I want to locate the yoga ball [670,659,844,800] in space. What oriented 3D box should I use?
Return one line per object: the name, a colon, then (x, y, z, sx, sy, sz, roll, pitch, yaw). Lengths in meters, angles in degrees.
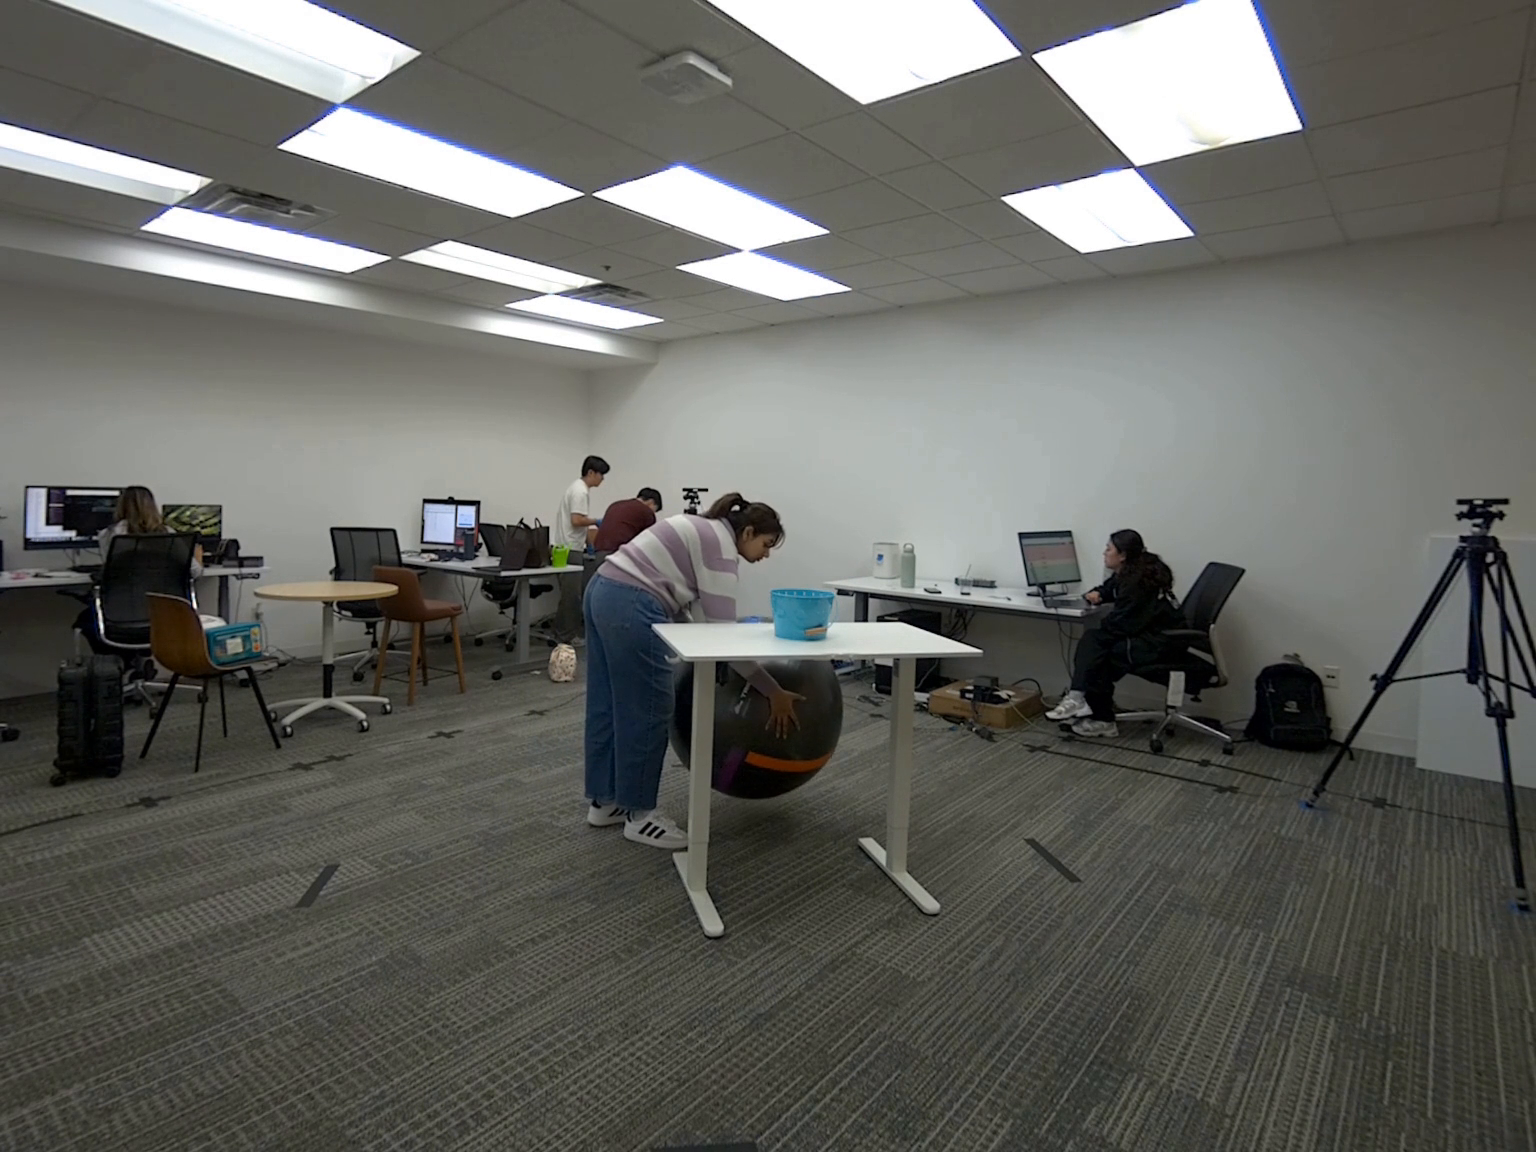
yoga ball: (-0.068, 0.550, 3.616, 0.757, 0.755, 0.762, 1, 4, -2)
